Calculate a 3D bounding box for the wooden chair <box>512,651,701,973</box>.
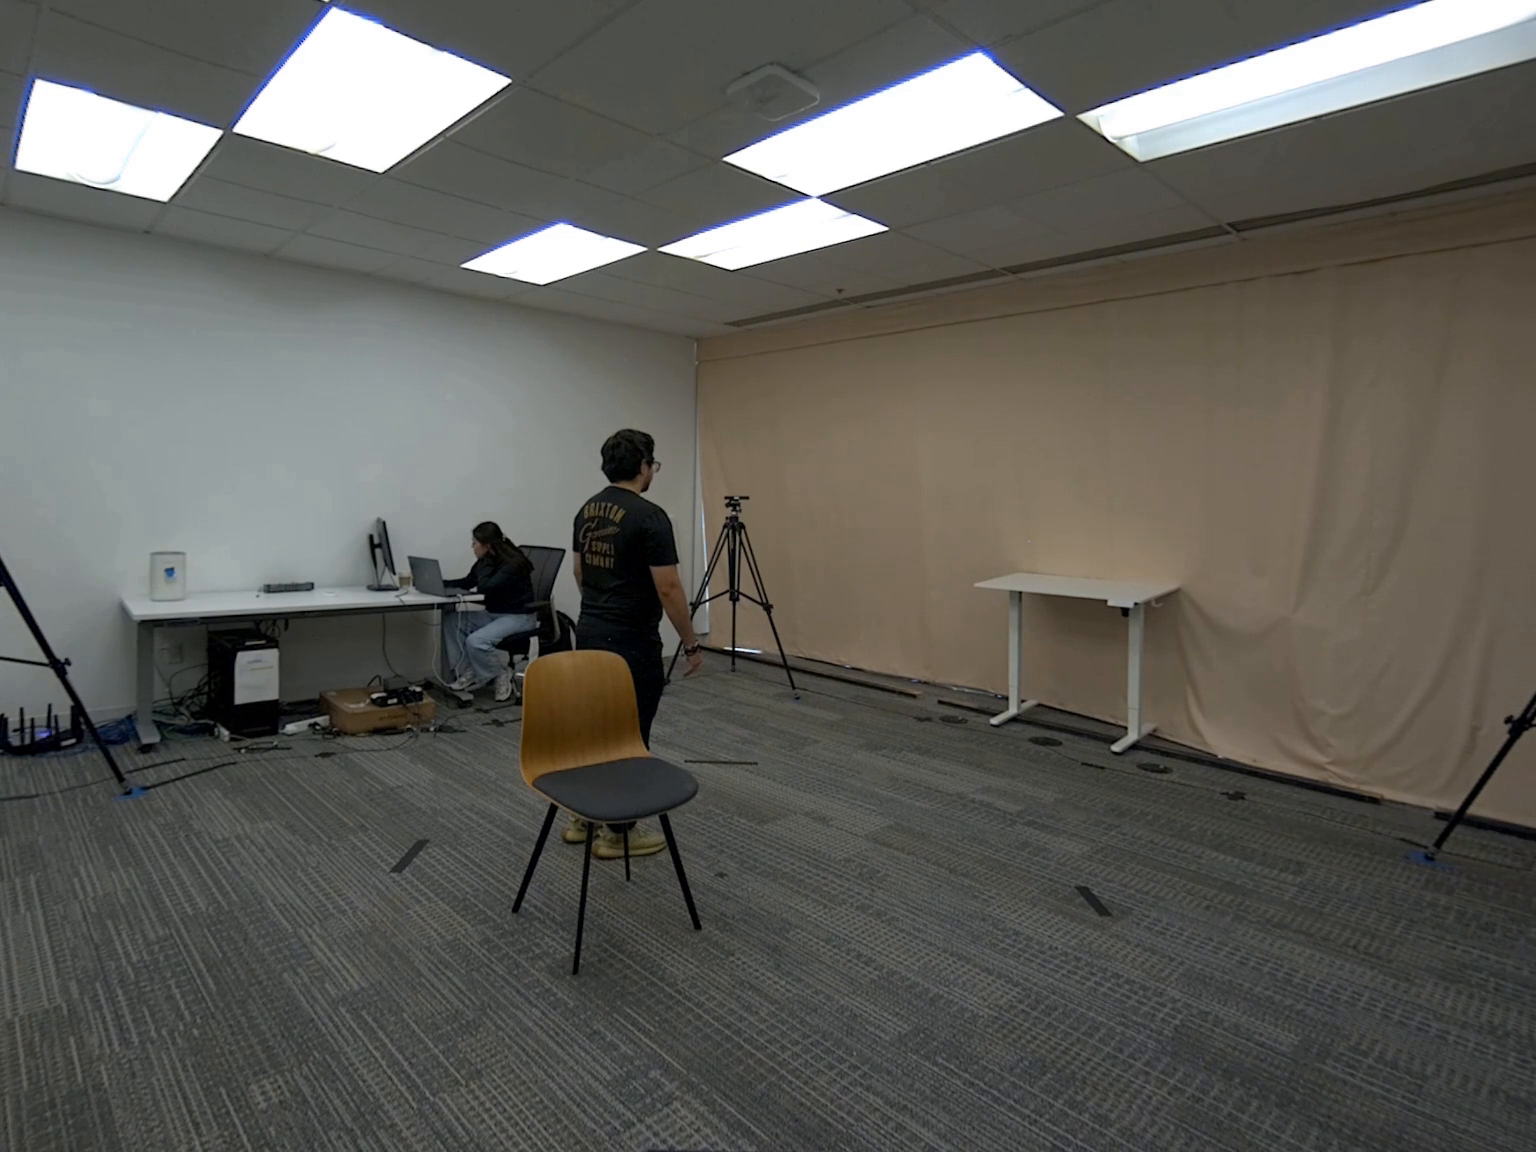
[{"bbox_3d":[-0.521,0.707,2.707,0.467,0.877,0.535,-2,0,-40],"label":"wooden chair"}]
